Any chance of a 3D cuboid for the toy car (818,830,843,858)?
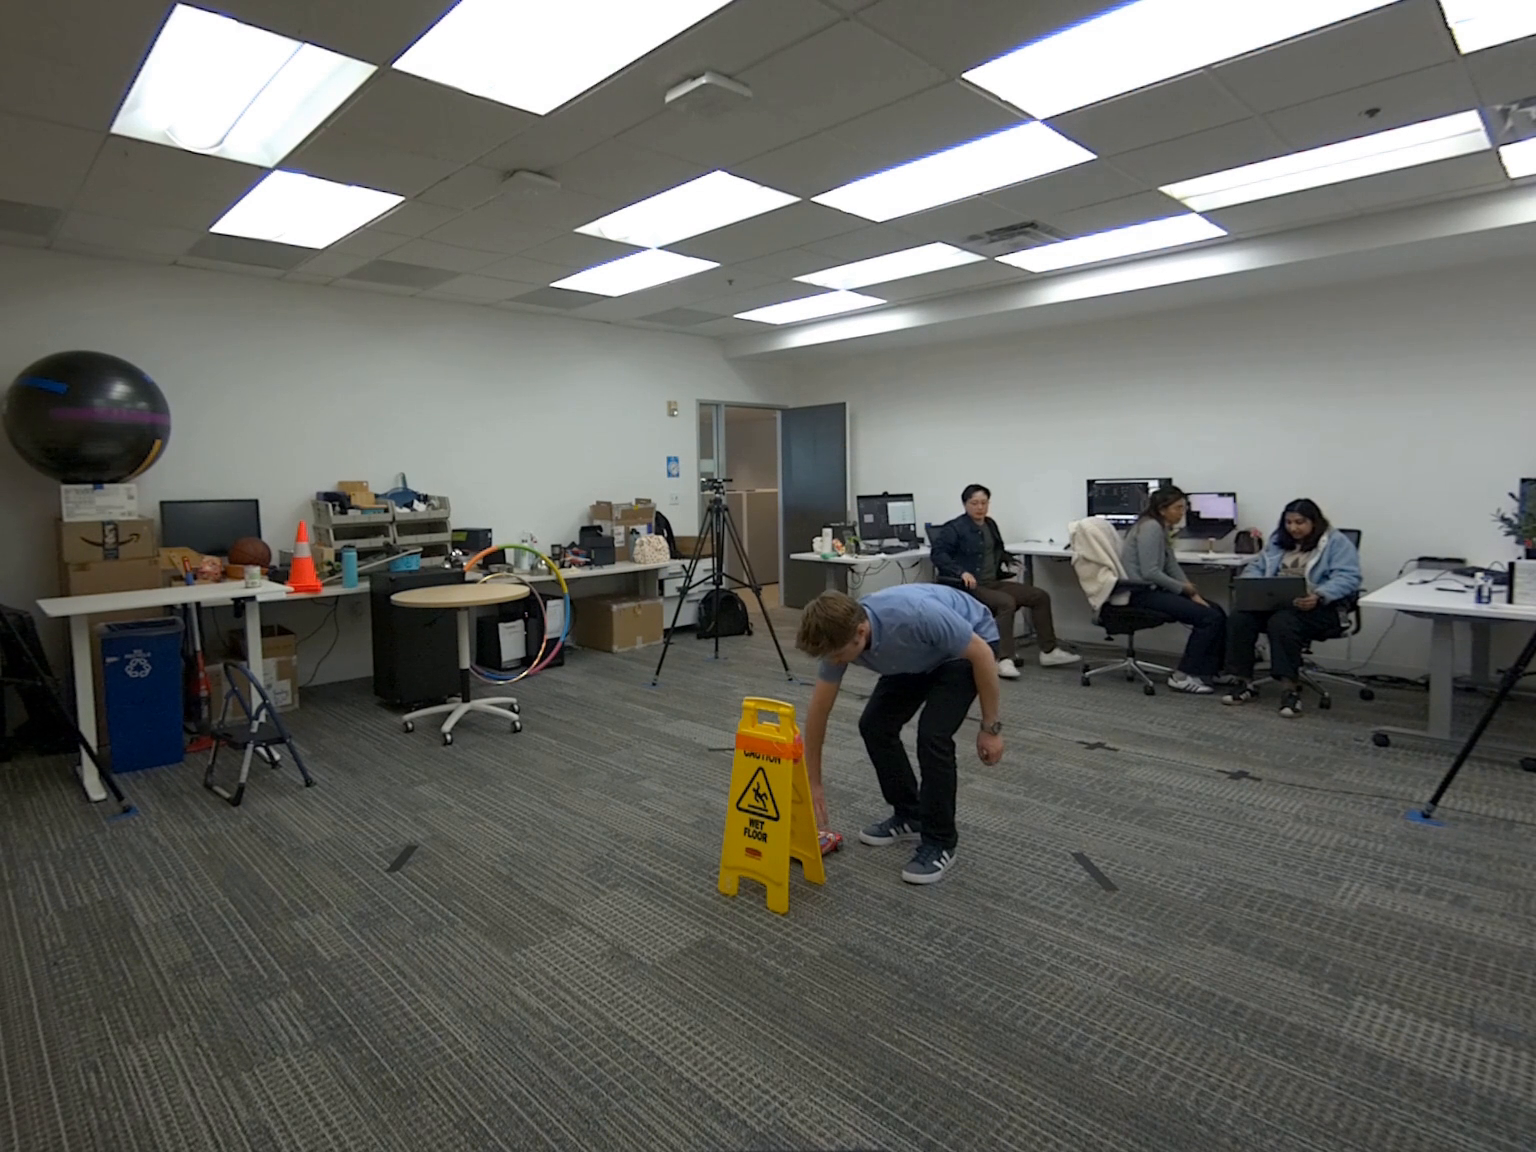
[{"bbox_3d":[0.166,1.008,3.173,0.134,0.083,0.246,5,-2,42],"label":"toy car"}]
